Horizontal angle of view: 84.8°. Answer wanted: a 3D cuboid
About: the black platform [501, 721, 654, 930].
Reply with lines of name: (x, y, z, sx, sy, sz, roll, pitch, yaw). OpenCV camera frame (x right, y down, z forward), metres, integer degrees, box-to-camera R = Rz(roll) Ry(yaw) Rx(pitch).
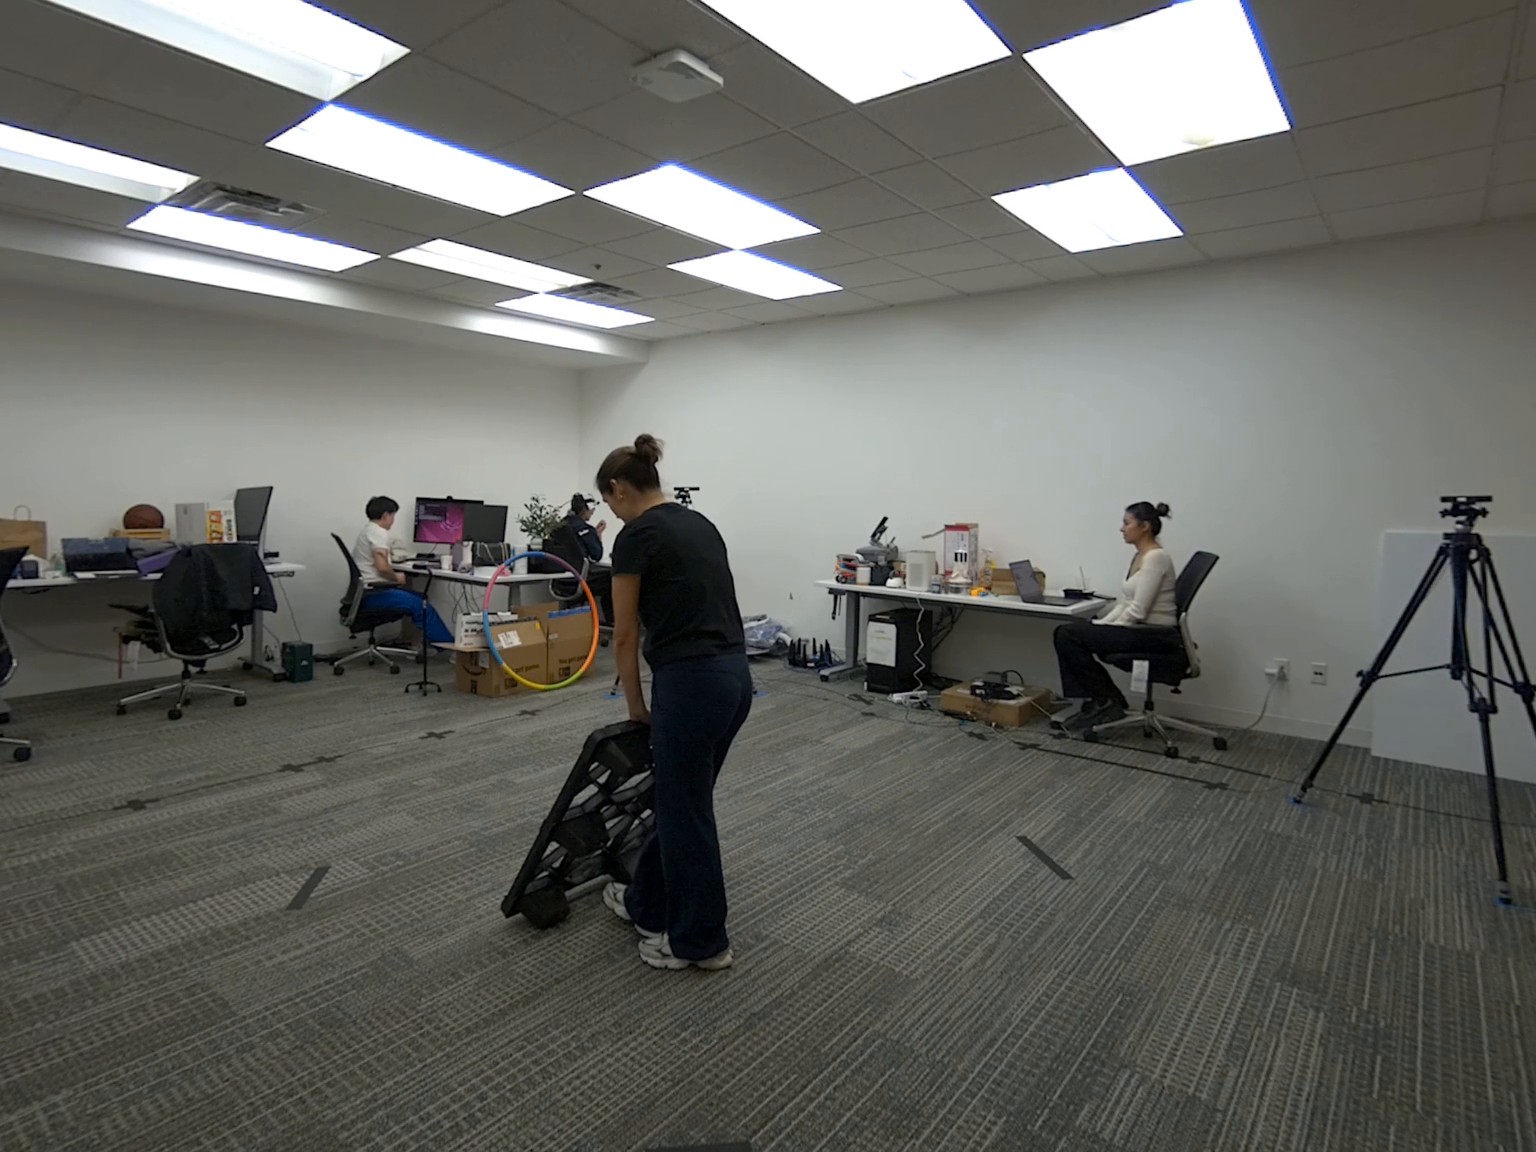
black platform: (-0.449, 0.762, 2.744, 0.587, 0.799, 0.149, -5, 41, -51)
